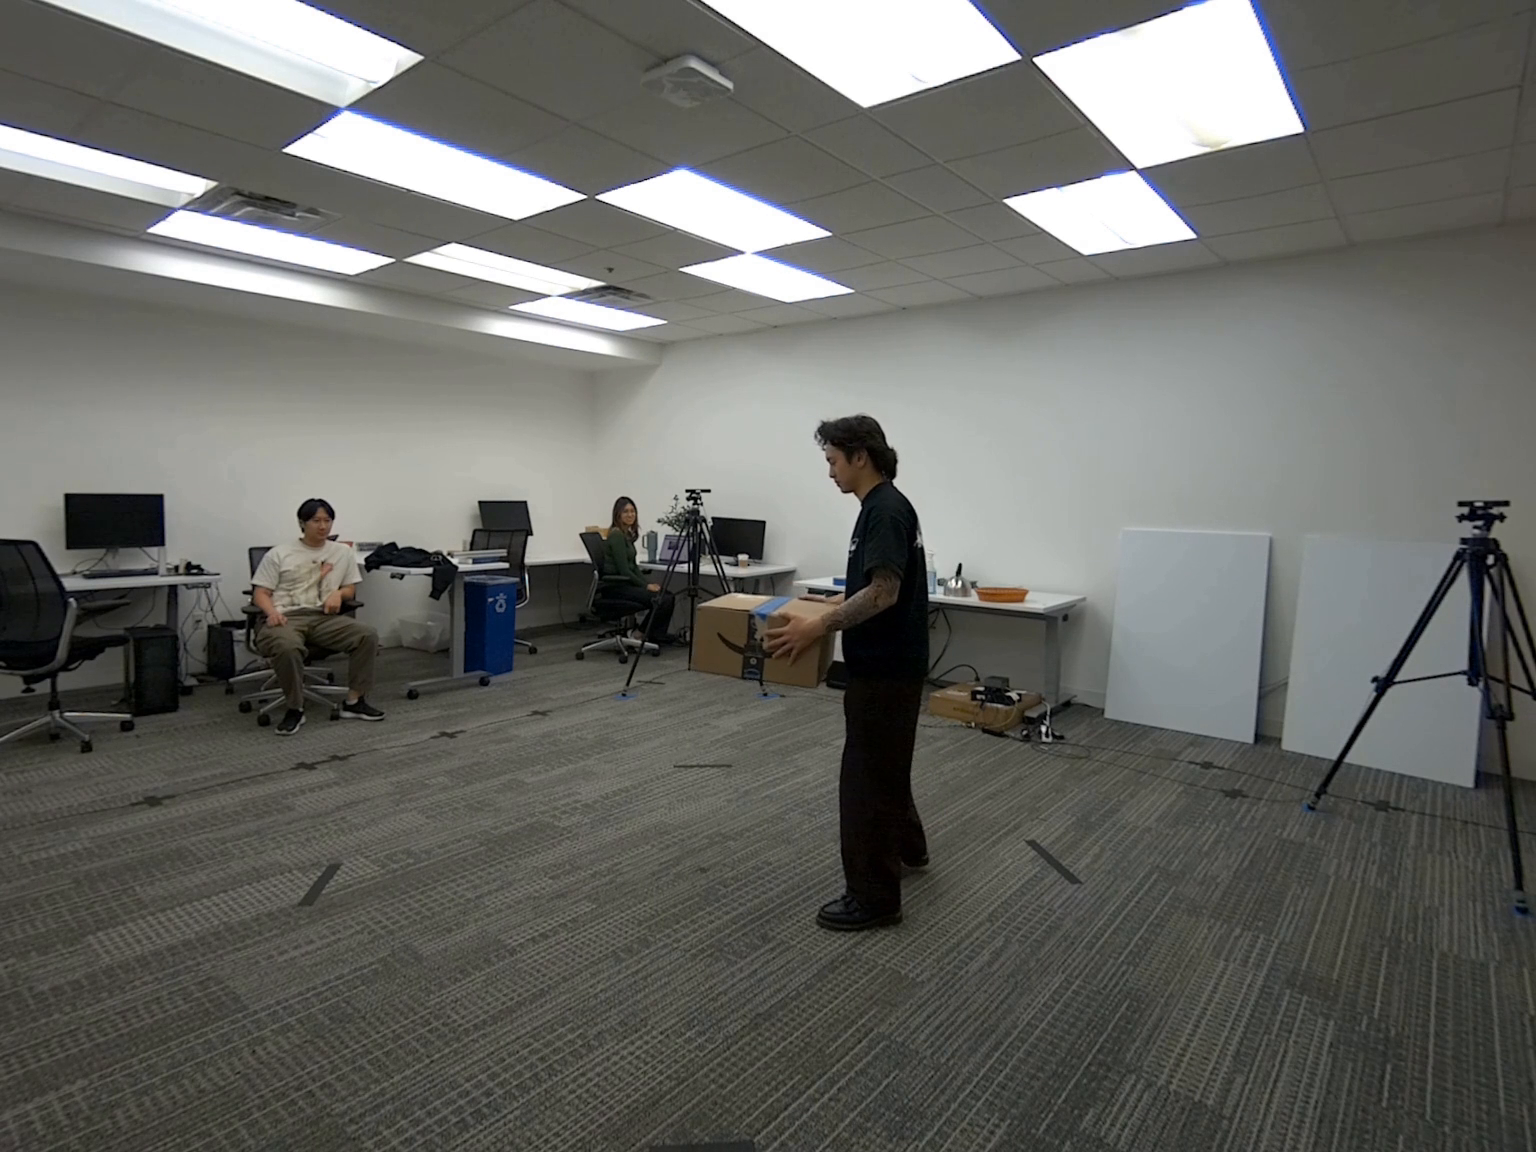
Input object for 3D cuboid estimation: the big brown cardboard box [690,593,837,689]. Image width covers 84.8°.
[{"bbox_3d":[0.003,0.202,2.998,0.423,0.232,0.583,6,5,10],"label":"big brown cardboard box"}]
